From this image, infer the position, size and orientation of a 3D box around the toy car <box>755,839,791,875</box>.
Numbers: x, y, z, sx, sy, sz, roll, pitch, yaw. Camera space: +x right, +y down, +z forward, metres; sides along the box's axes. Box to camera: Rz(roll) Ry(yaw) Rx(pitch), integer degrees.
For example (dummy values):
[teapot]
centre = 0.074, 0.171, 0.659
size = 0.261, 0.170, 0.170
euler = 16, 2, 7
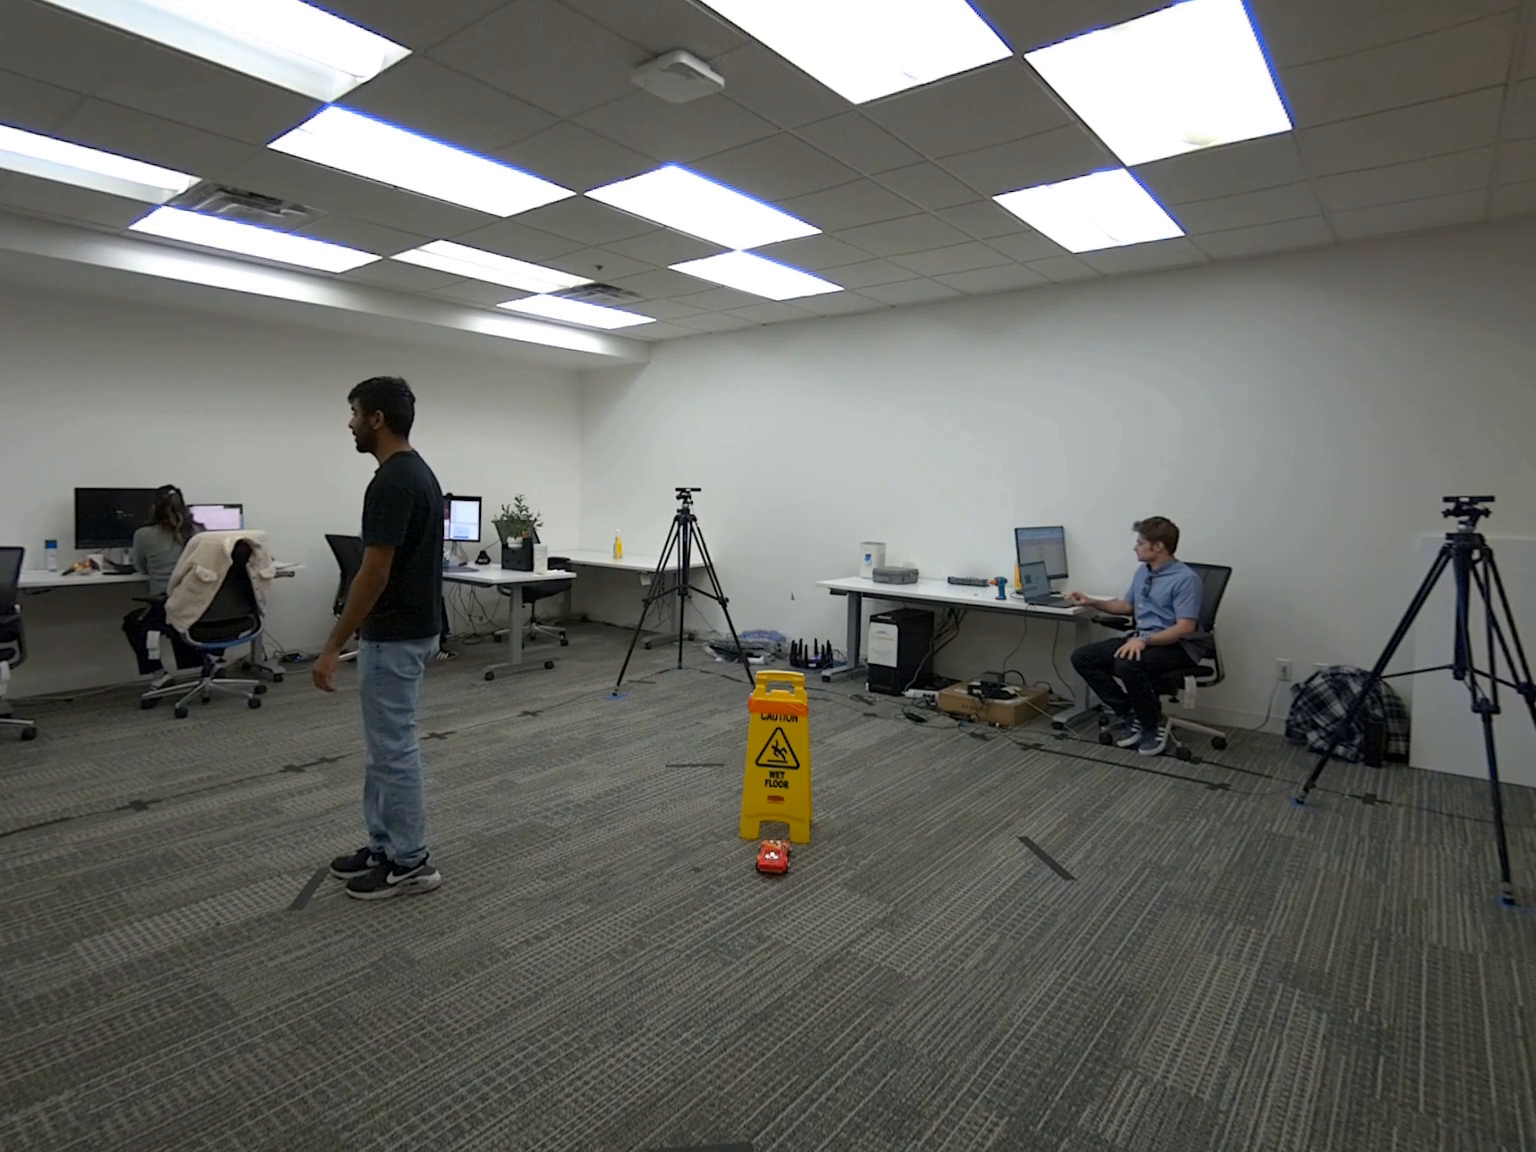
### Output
[toy car]
centre = 0.006, 1.042, 3.142
size = 0.131, 0.084, 0.251
euler = 1, -6, 5
